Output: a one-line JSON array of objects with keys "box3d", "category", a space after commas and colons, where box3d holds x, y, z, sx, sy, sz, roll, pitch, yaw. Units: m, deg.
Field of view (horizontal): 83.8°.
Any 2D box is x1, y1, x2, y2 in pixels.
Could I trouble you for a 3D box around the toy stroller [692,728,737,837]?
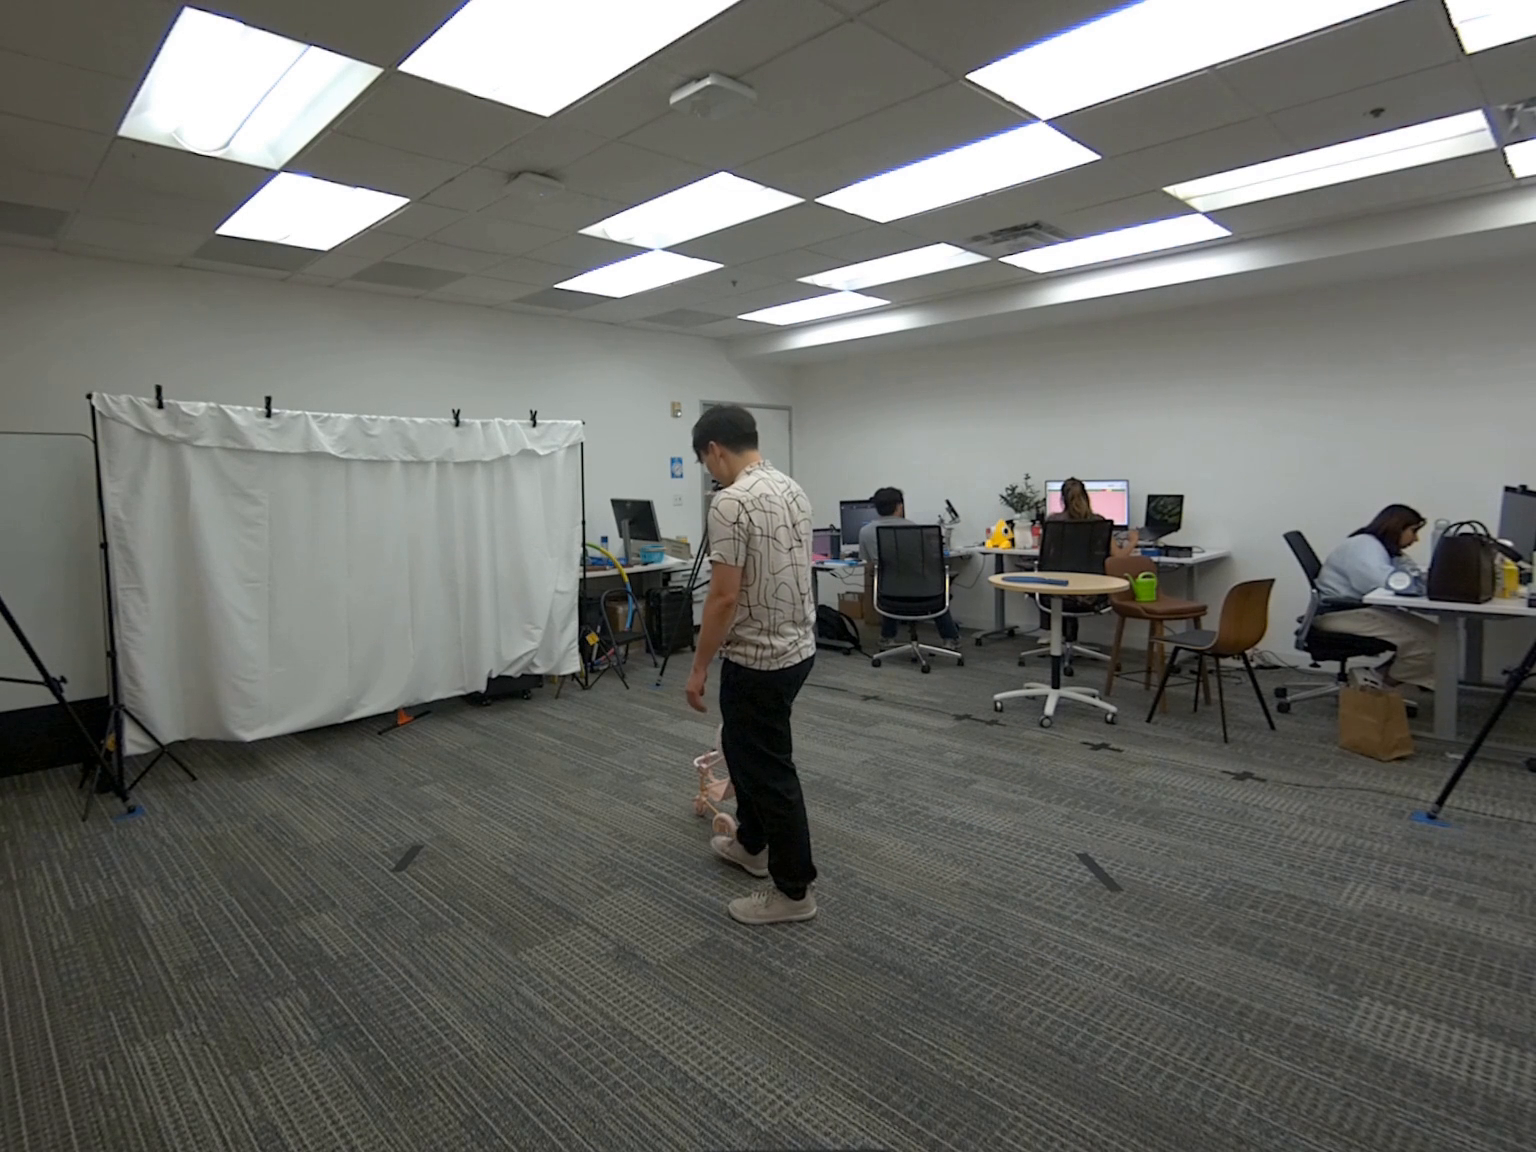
[{"box3d": [-0.137, 0.789, 3.429, 0.274, 0.529, 0.354, -3, 20, -44], "category": "toy stroller"}]
